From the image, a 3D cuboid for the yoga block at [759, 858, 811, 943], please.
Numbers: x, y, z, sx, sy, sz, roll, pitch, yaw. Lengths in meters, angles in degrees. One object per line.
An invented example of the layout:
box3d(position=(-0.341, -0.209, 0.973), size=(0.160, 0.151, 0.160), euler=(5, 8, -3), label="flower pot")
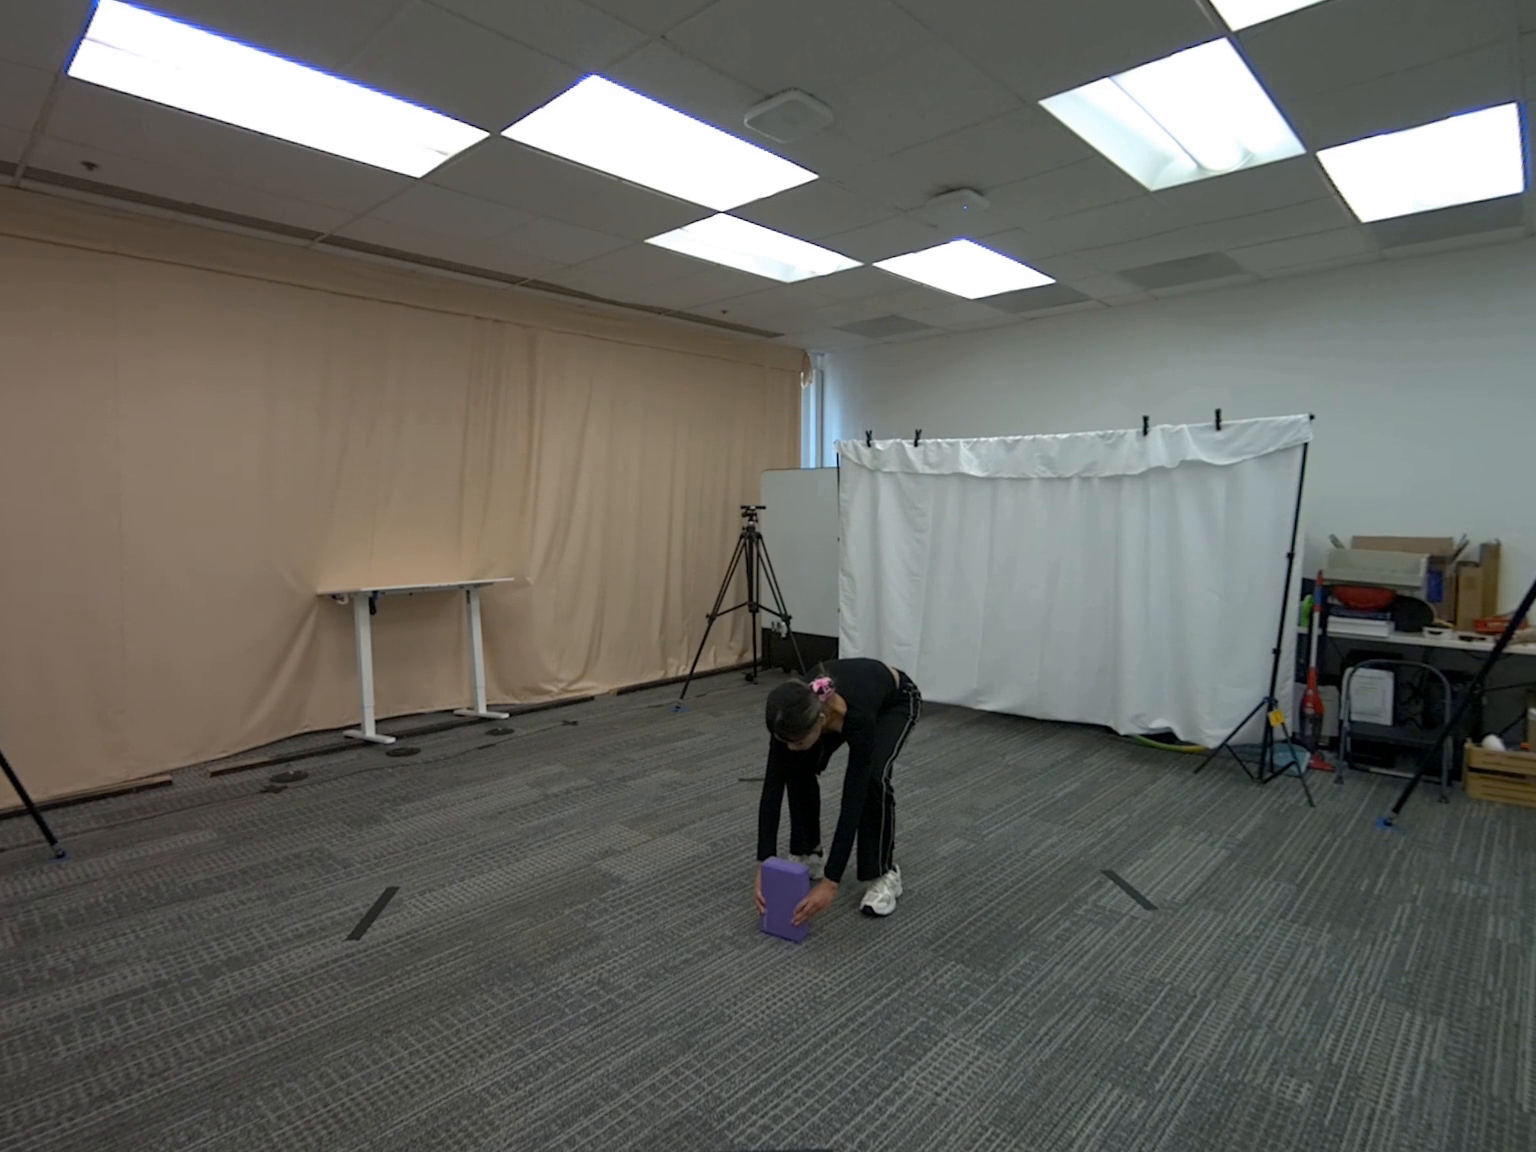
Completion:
box3d(position=(0.057, 1.049, 2.742), size=(0.153, 0.229, 0.074), euler=(2, 5, 29), label="yoga block")
